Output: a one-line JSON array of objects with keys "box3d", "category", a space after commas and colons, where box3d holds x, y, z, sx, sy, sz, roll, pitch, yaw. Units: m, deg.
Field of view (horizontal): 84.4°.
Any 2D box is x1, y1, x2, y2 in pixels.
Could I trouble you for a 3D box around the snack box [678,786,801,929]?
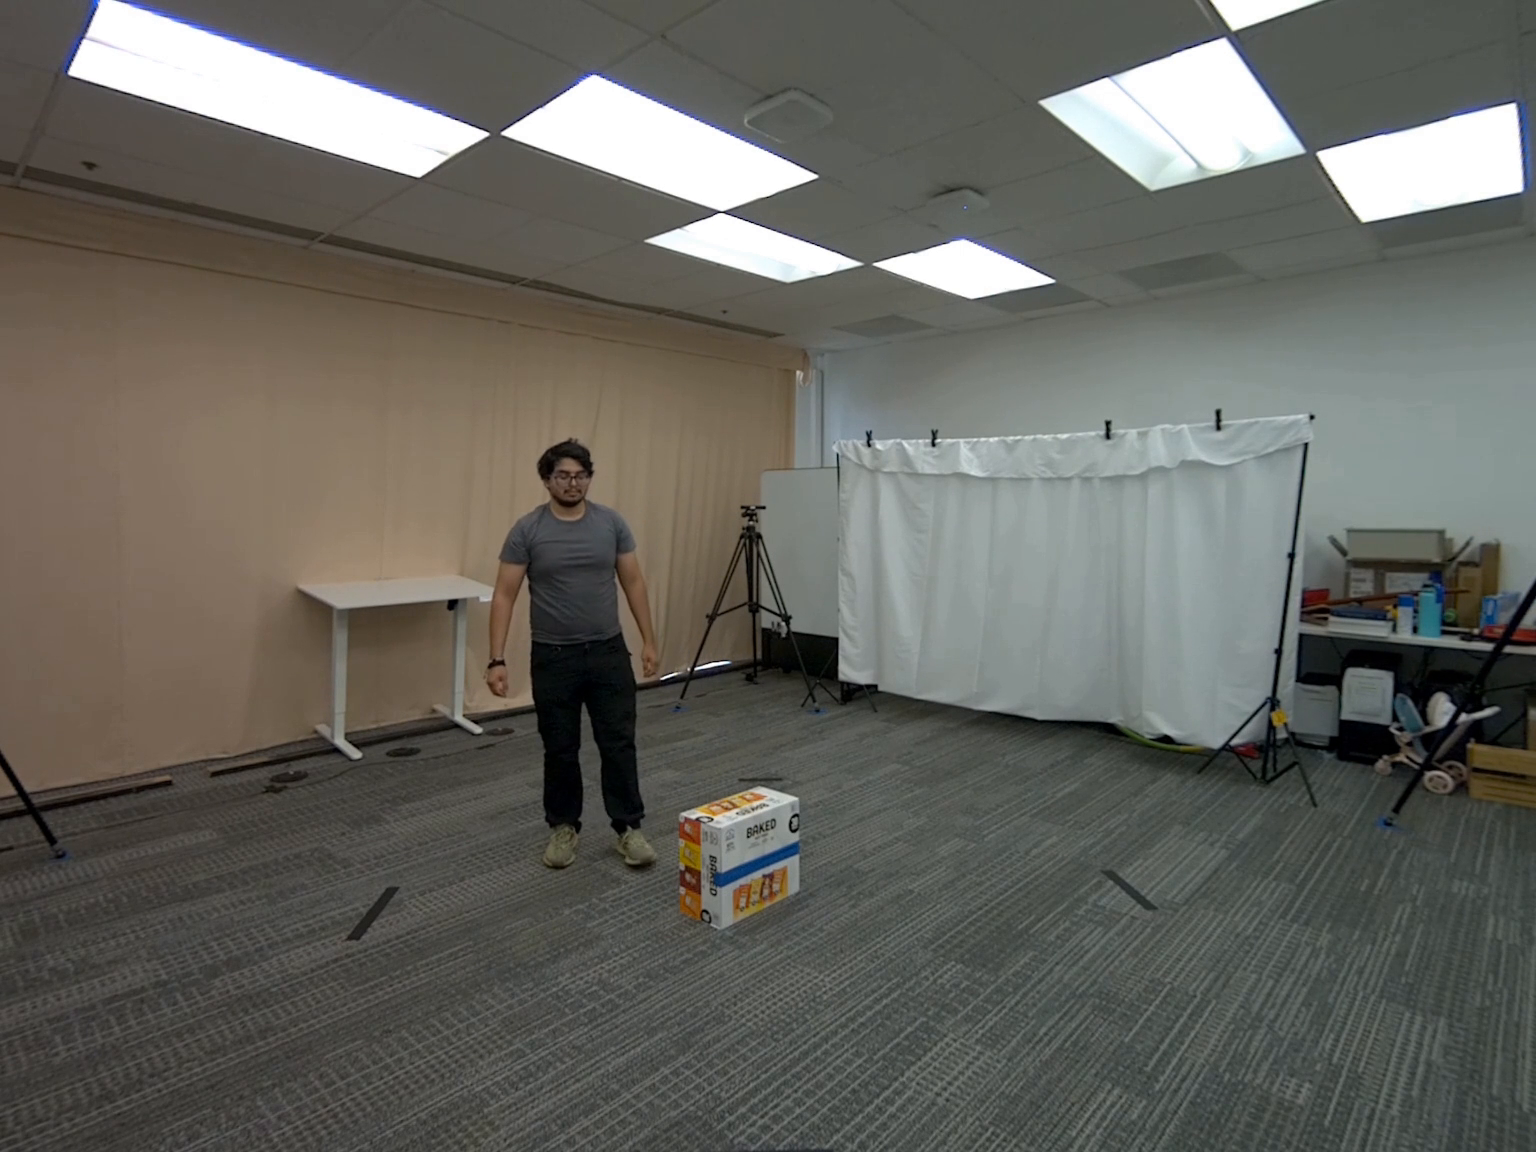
[{"box3d": [-0.095, 0.975, 2.963, 0.212, 0.340, 0.393, 3, 4, 44], "category": "snack box"}]
